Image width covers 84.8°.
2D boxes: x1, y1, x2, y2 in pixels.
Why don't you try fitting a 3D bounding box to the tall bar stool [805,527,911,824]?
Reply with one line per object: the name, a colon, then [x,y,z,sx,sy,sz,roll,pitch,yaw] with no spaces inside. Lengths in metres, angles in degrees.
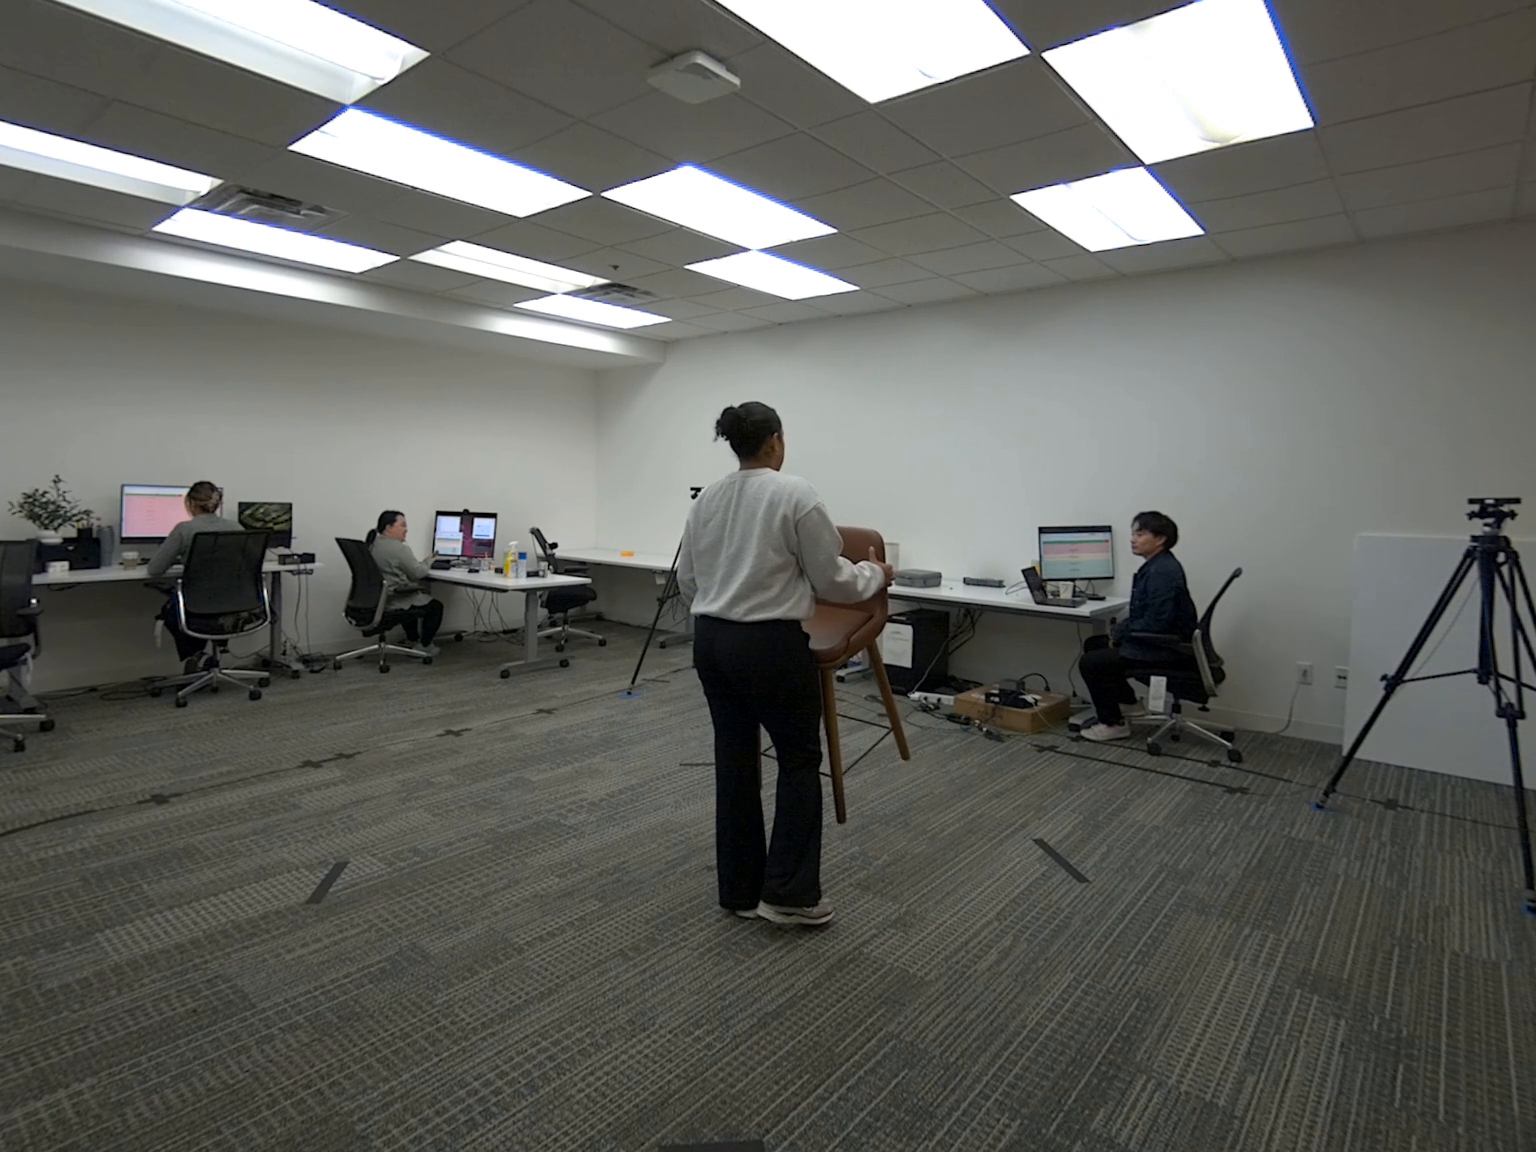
tall bar stool: [0.171,0.317,2.987,0.472,0.876,0.459,6,20,43]
